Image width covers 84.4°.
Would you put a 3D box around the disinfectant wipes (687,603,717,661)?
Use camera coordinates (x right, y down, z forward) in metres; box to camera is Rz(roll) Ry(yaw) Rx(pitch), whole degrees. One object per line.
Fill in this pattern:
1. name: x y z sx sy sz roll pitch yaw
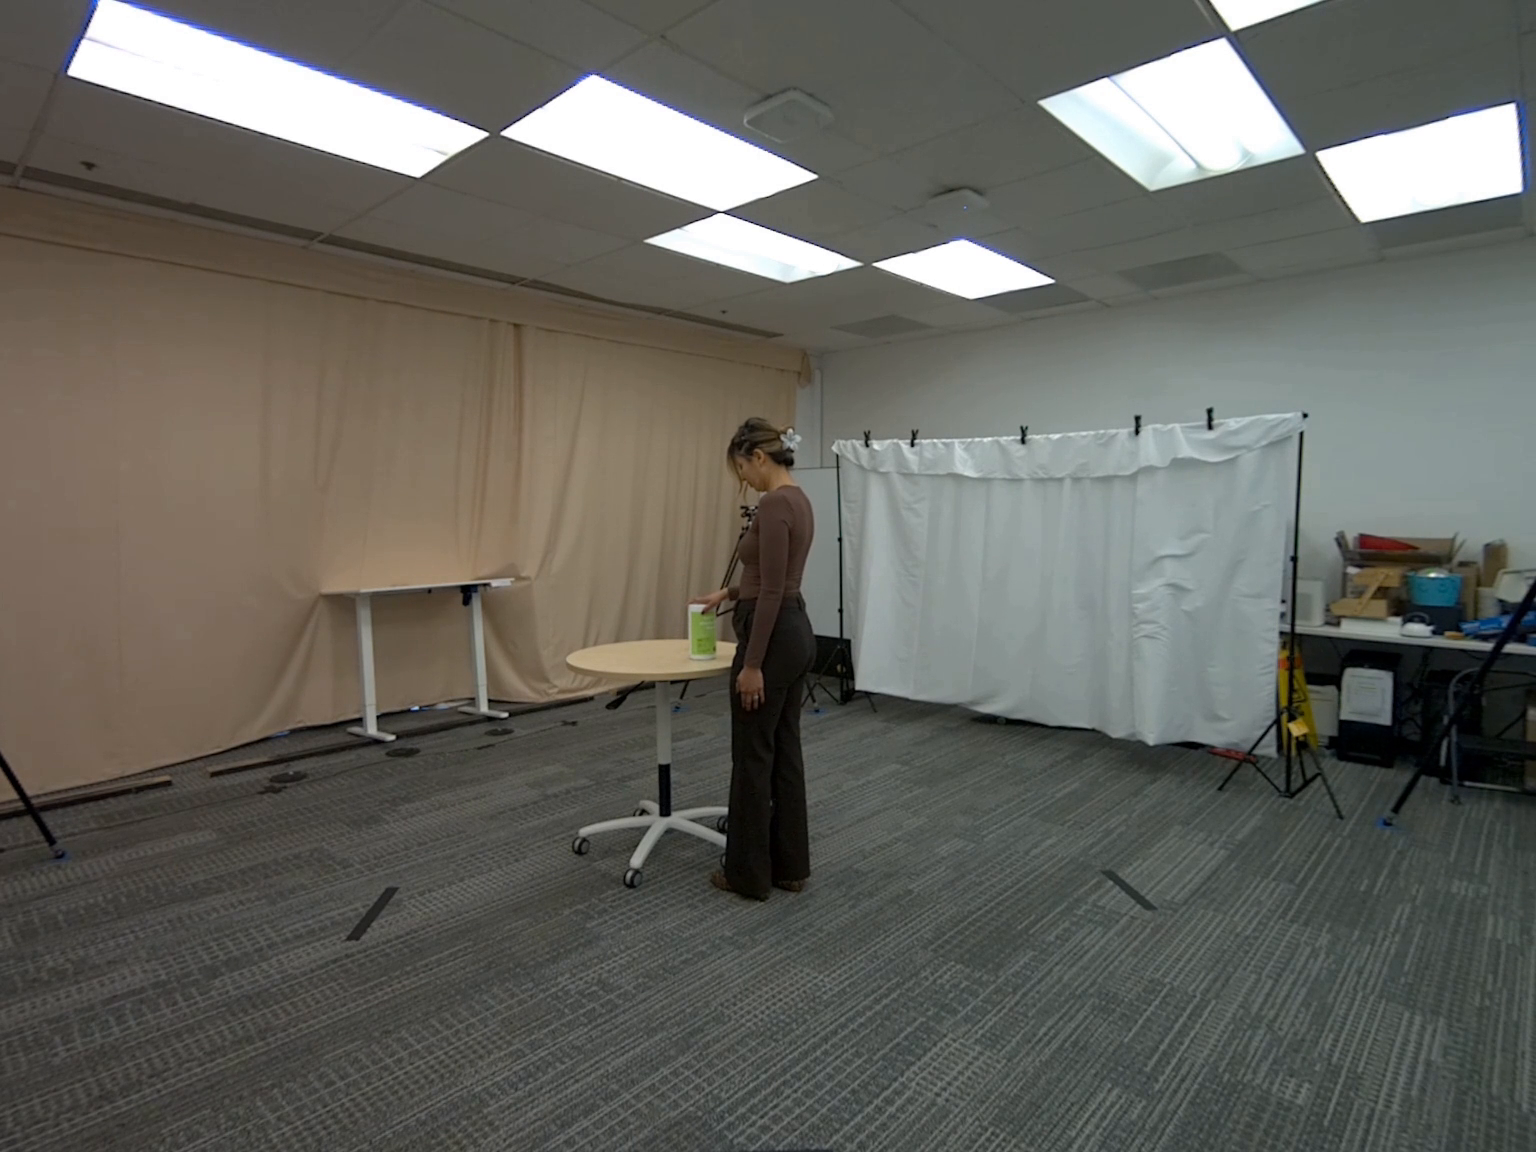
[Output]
1. disinfectant wipes: -0.258 0.216 3.293 0.117 0.217 0.118 2 5 -2
